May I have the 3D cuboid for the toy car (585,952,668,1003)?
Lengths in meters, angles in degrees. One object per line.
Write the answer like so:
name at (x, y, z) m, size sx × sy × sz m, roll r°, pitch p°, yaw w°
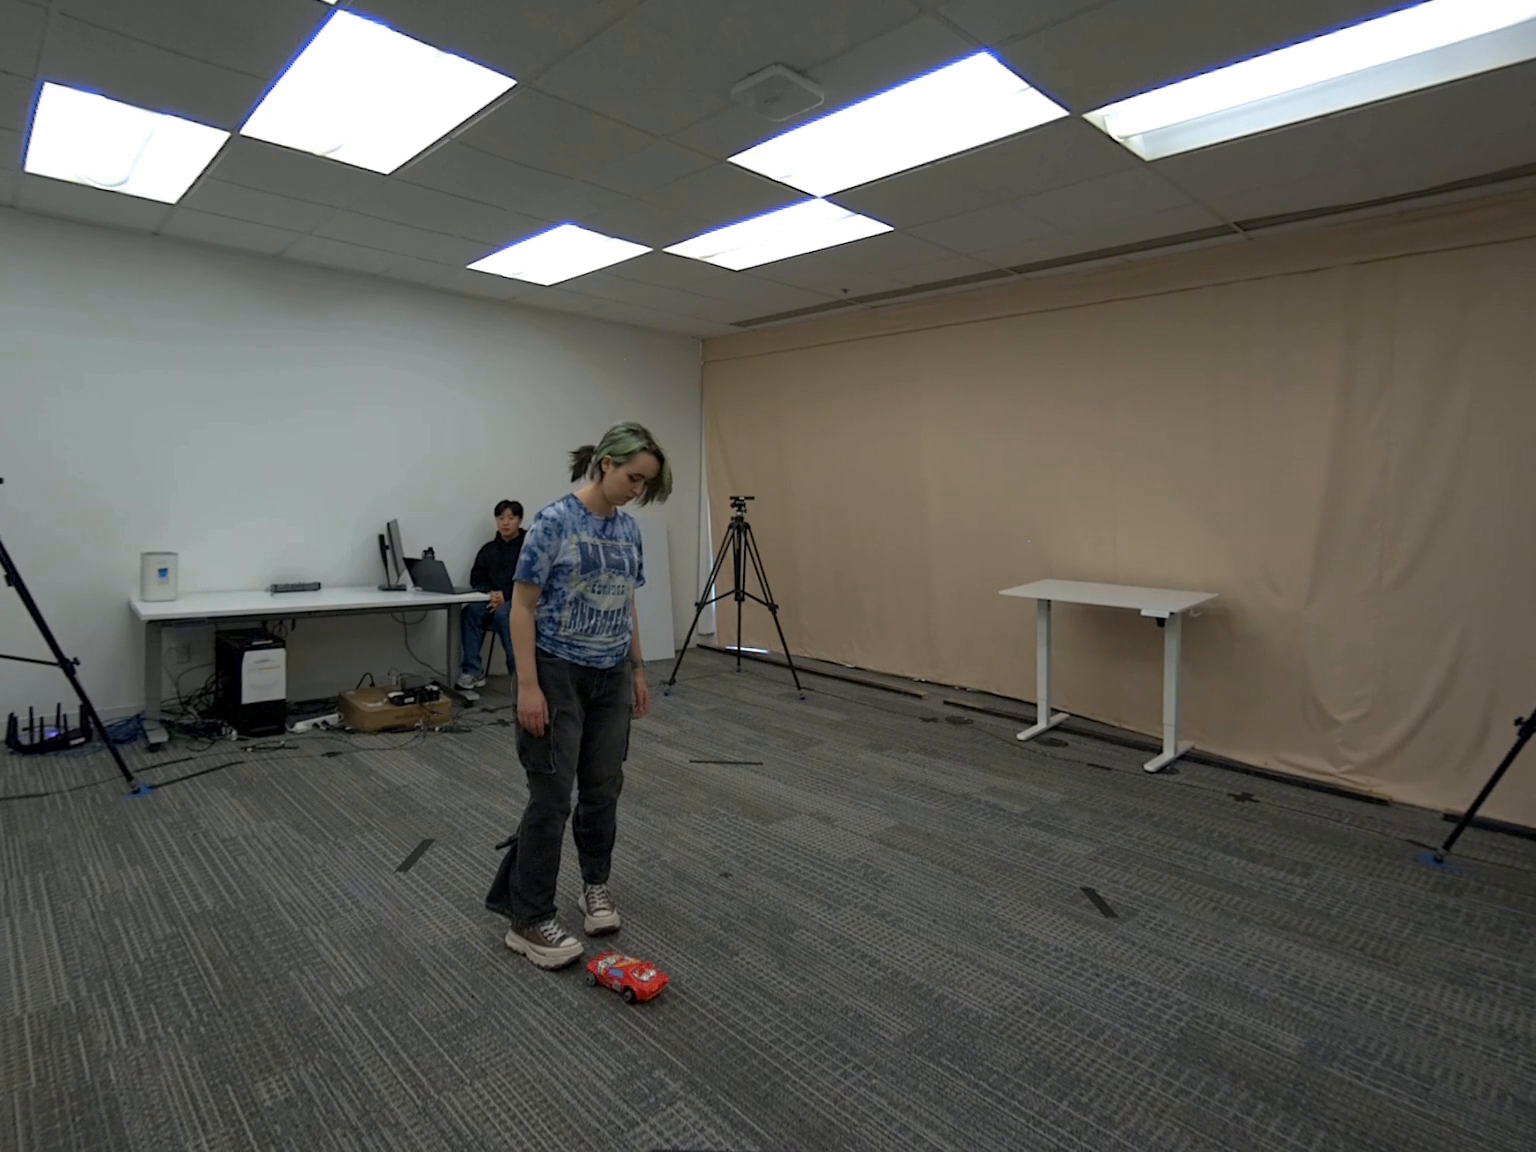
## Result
toy car at (-0.398, 1.136, 2.367) m, size 0.259 × 0.083 × 0.127 m, roll -9°, pitch -2°, yaw 35°
